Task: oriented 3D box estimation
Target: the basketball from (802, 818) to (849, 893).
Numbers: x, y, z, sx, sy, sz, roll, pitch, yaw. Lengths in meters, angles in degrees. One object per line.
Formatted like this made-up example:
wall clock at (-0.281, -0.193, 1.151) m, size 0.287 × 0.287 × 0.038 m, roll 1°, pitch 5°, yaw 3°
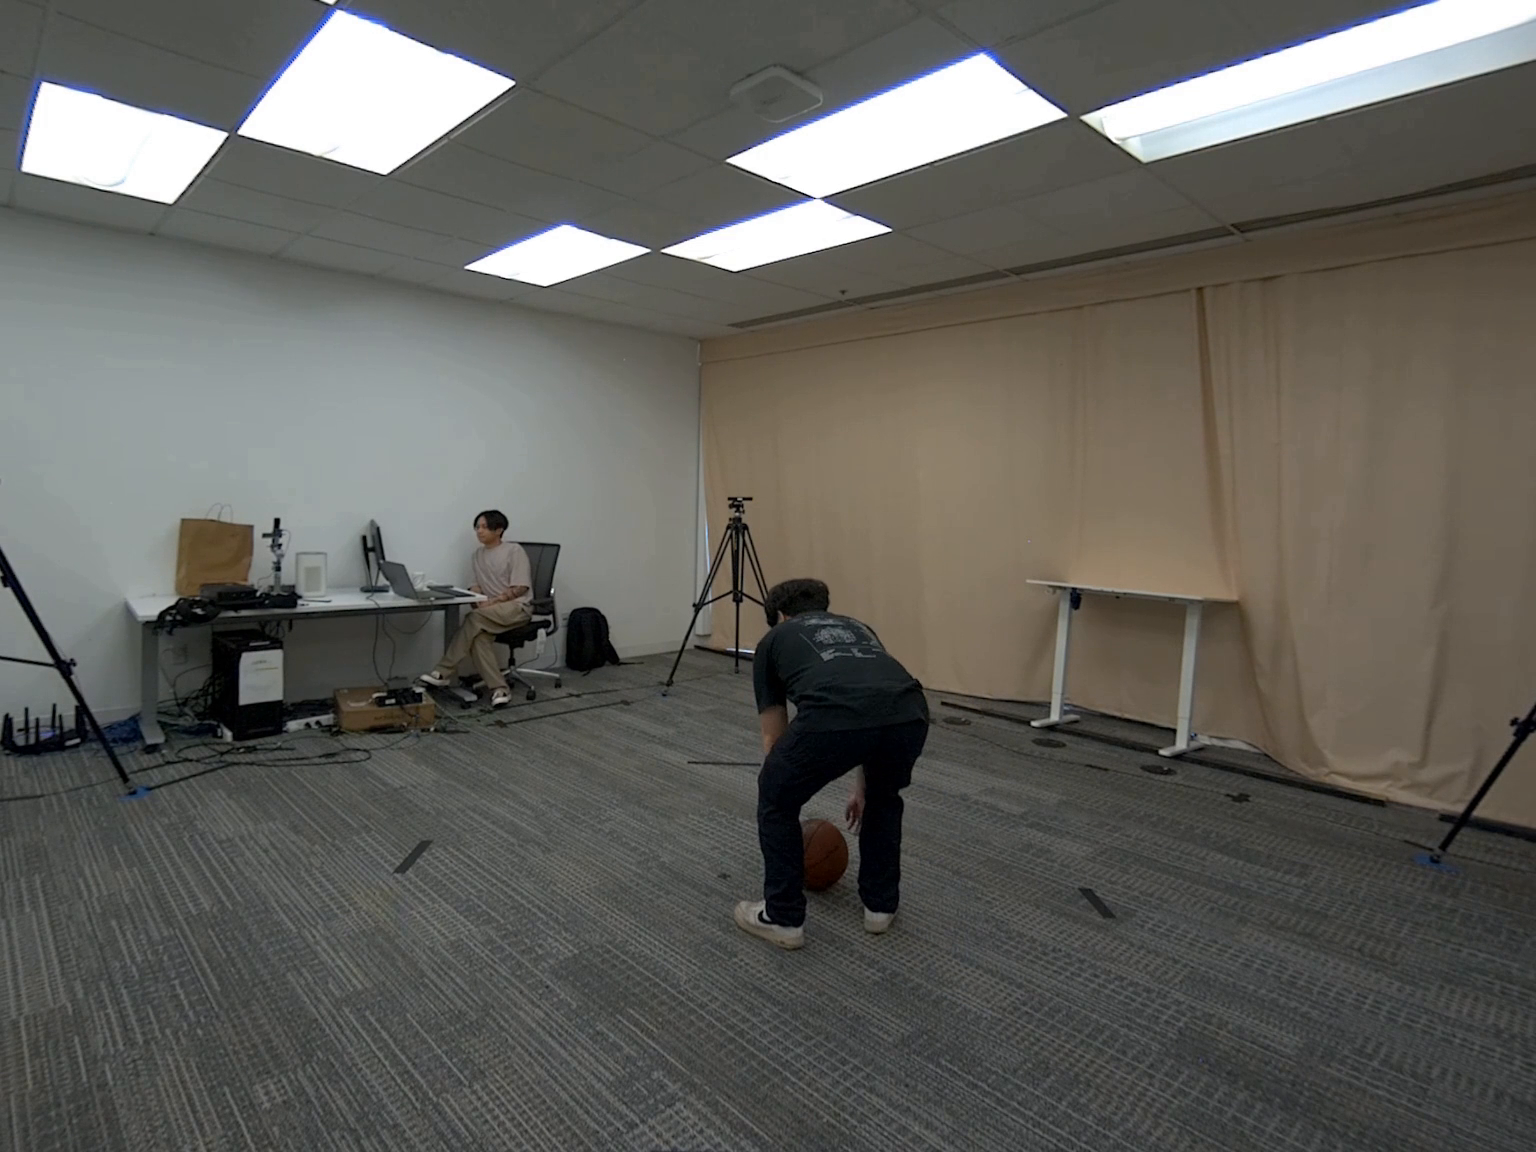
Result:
basketball at (0.164, 0.997, 3.030) m, size 0.236 × 0.235 × 0.237 m, roll 1°, pitch 4°, yaw -1°
